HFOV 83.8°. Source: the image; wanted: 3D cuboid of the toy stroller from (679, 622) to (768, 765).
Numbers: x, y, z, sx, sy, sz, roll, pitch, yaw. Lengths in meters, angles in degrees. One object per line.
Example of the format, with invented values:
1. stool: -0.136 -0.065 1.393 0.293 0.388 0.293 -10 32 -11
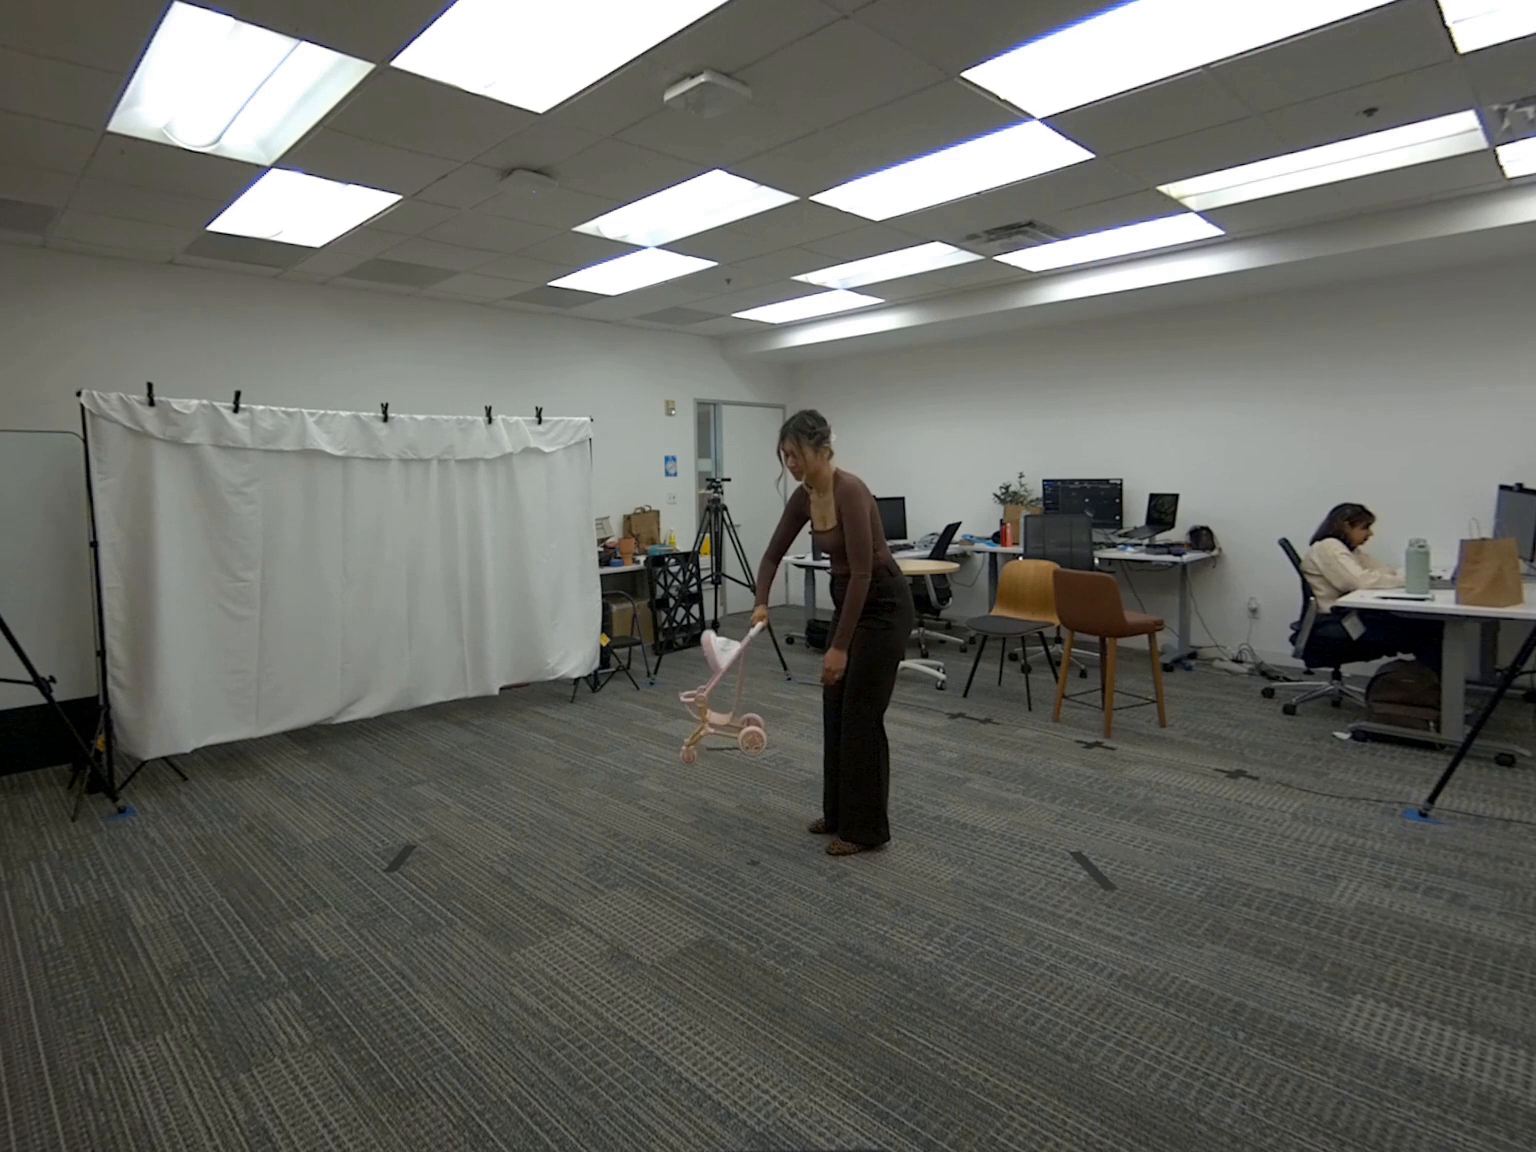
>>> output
1. toy stroller: -0.179 0.443 3.217 0.343 0.535 0.280 -1 0 4
